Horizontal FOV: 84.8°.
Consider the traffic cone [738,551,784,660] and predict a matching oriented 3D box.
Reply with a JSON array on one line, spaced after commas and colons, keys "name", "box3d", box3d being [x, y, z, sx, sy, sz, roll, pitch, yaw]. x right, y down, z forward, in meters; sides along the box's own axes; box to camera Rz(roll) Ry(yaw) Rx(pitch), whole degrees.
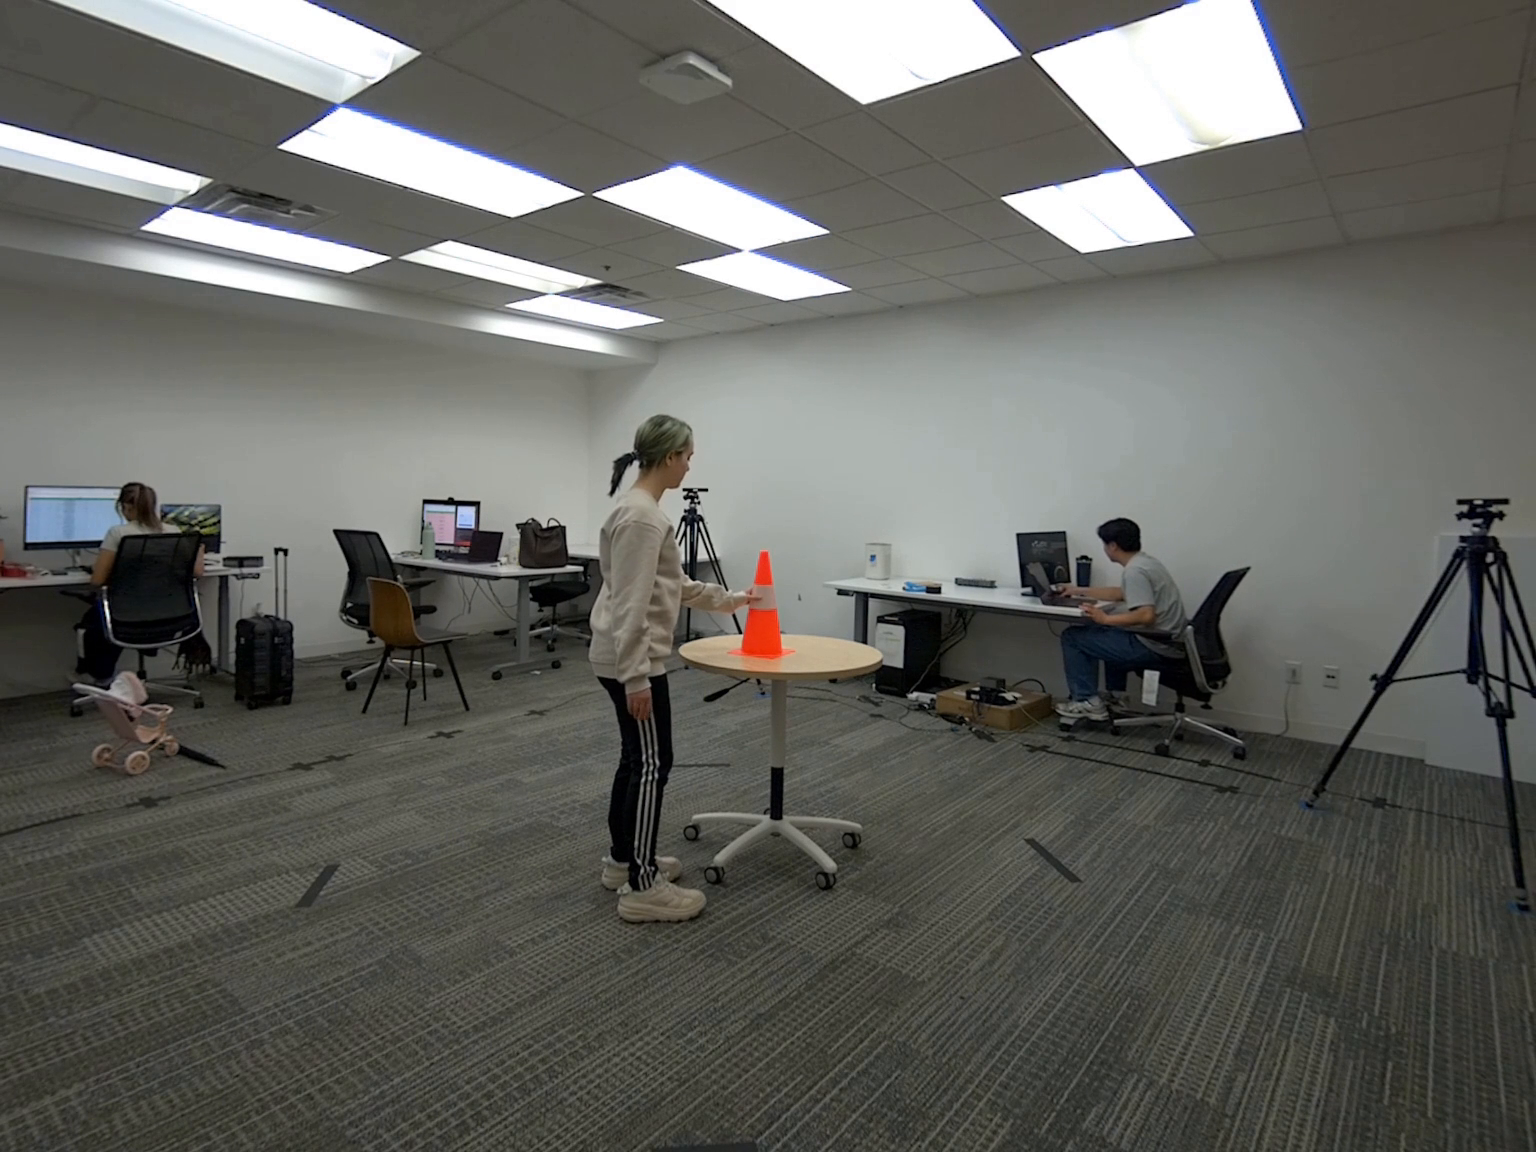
[{"name": "traffic cone", "box3d": [-0.026, 0.096, 3.181, 0.211, 0.382, 0.198, 4, 5, 27]}]
